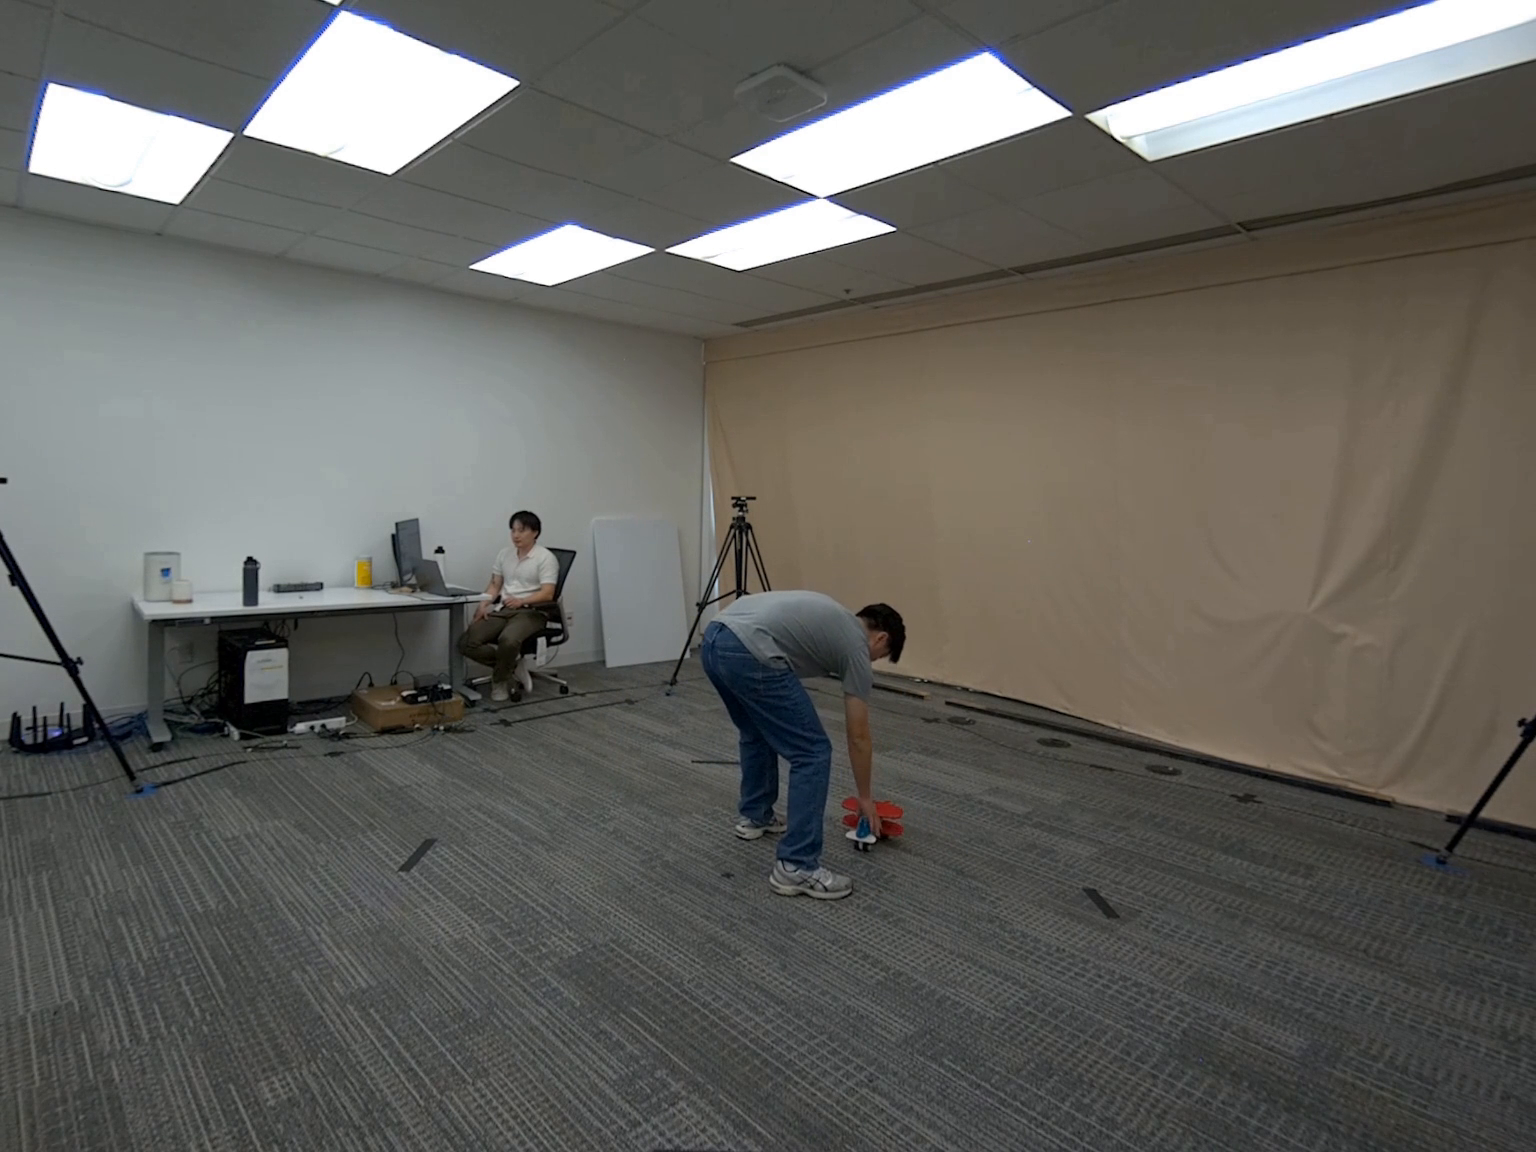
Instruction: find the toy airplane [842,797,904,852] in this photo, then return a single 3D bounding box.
[{"bbox_3d":[0.425,1.017,3.428,0.250,0.156,0.260,2,2,-4],"label":"toy airplane"}]
